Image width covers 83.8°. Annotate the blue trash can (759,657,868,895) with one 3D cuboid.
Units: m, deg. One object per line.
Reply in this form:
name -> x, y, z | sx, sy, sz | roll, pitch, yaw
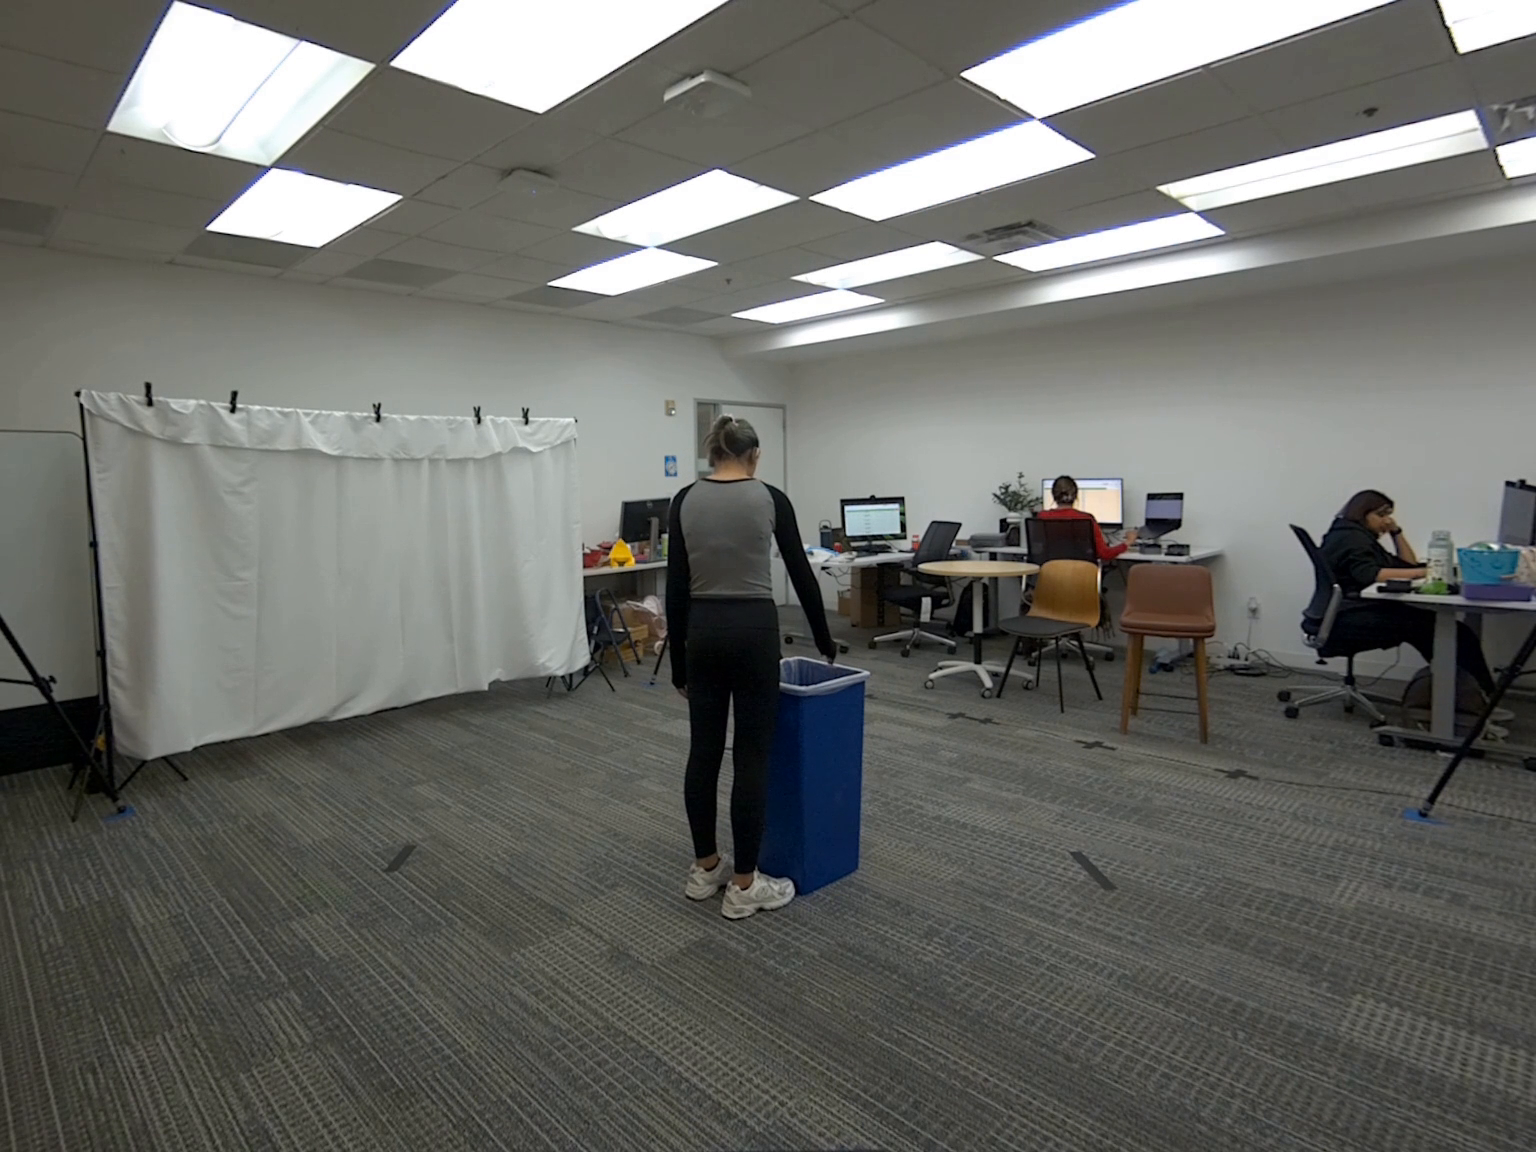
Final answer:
blue trash can -> 0.125, 0.690, 3.031 | 0.368, 0.711, 0.385 | -5, 5, -44
